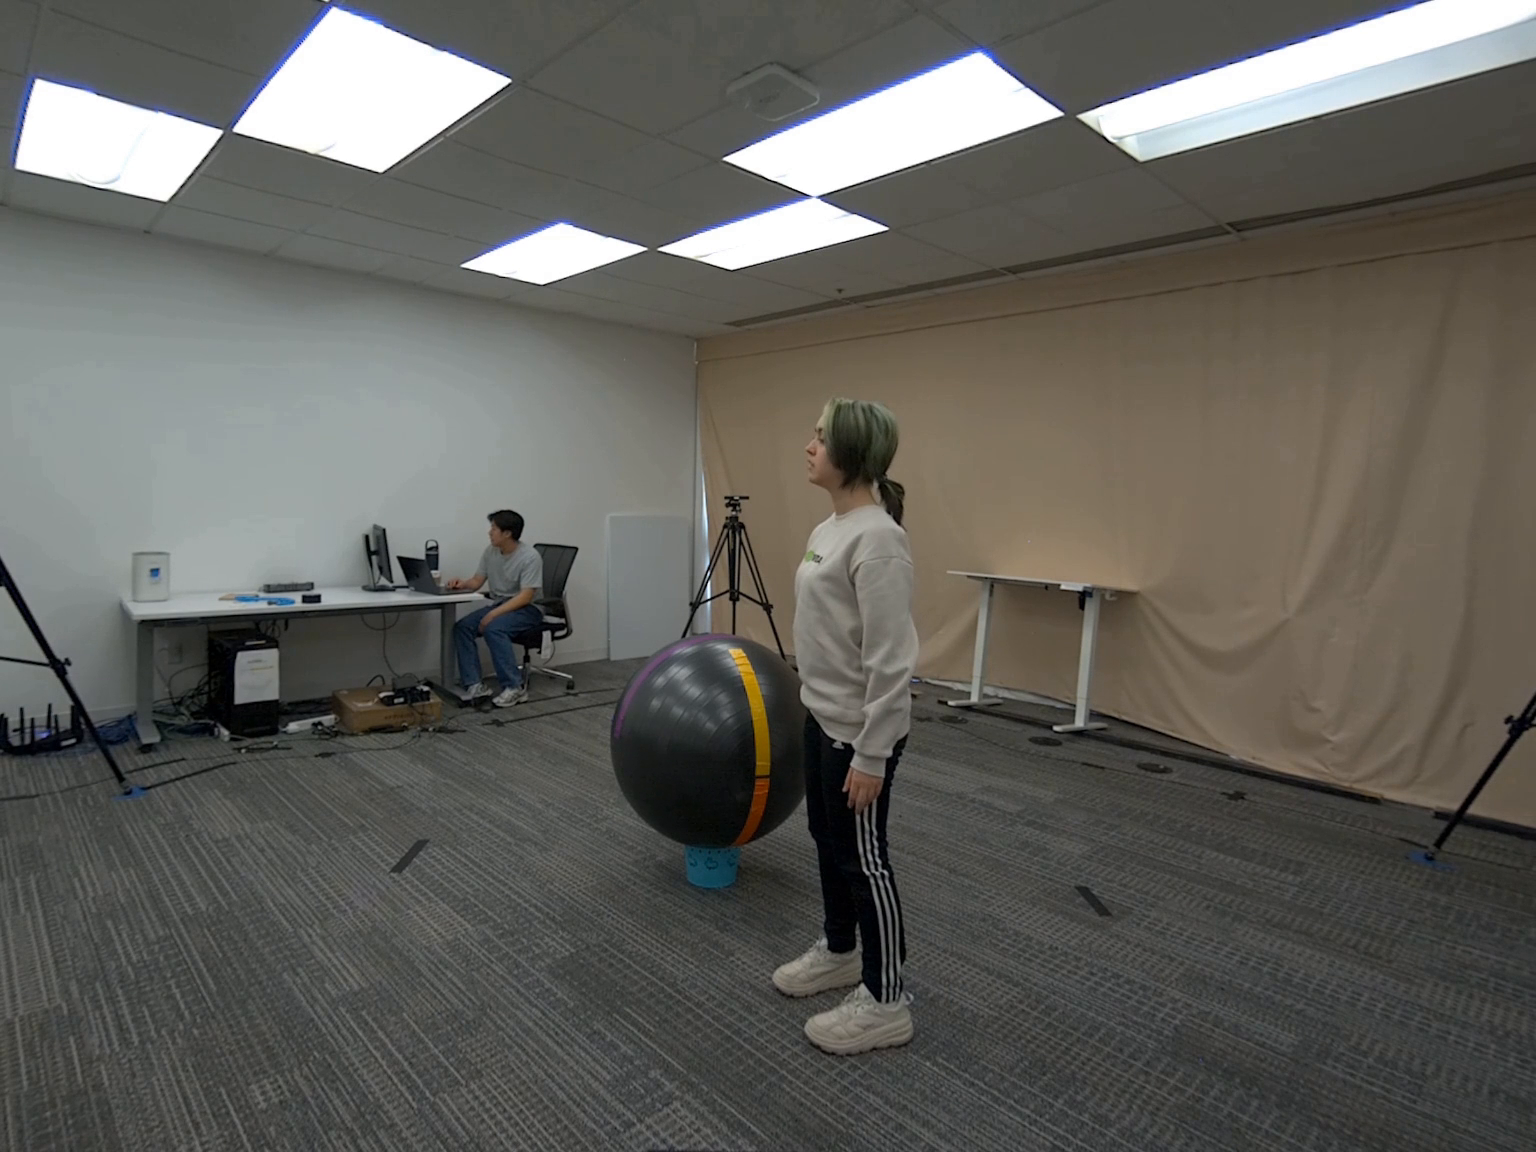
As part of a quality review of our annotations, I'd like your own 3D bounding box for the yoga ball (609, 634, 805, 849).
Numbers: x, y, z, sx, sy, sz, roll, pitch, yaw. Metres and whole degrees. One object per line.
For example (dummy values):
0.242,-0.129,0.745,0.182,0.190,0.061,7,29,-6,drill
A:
-0.196,0.592,3.064,0.757,0.756,0.761,1,4,-1,yoga ball
